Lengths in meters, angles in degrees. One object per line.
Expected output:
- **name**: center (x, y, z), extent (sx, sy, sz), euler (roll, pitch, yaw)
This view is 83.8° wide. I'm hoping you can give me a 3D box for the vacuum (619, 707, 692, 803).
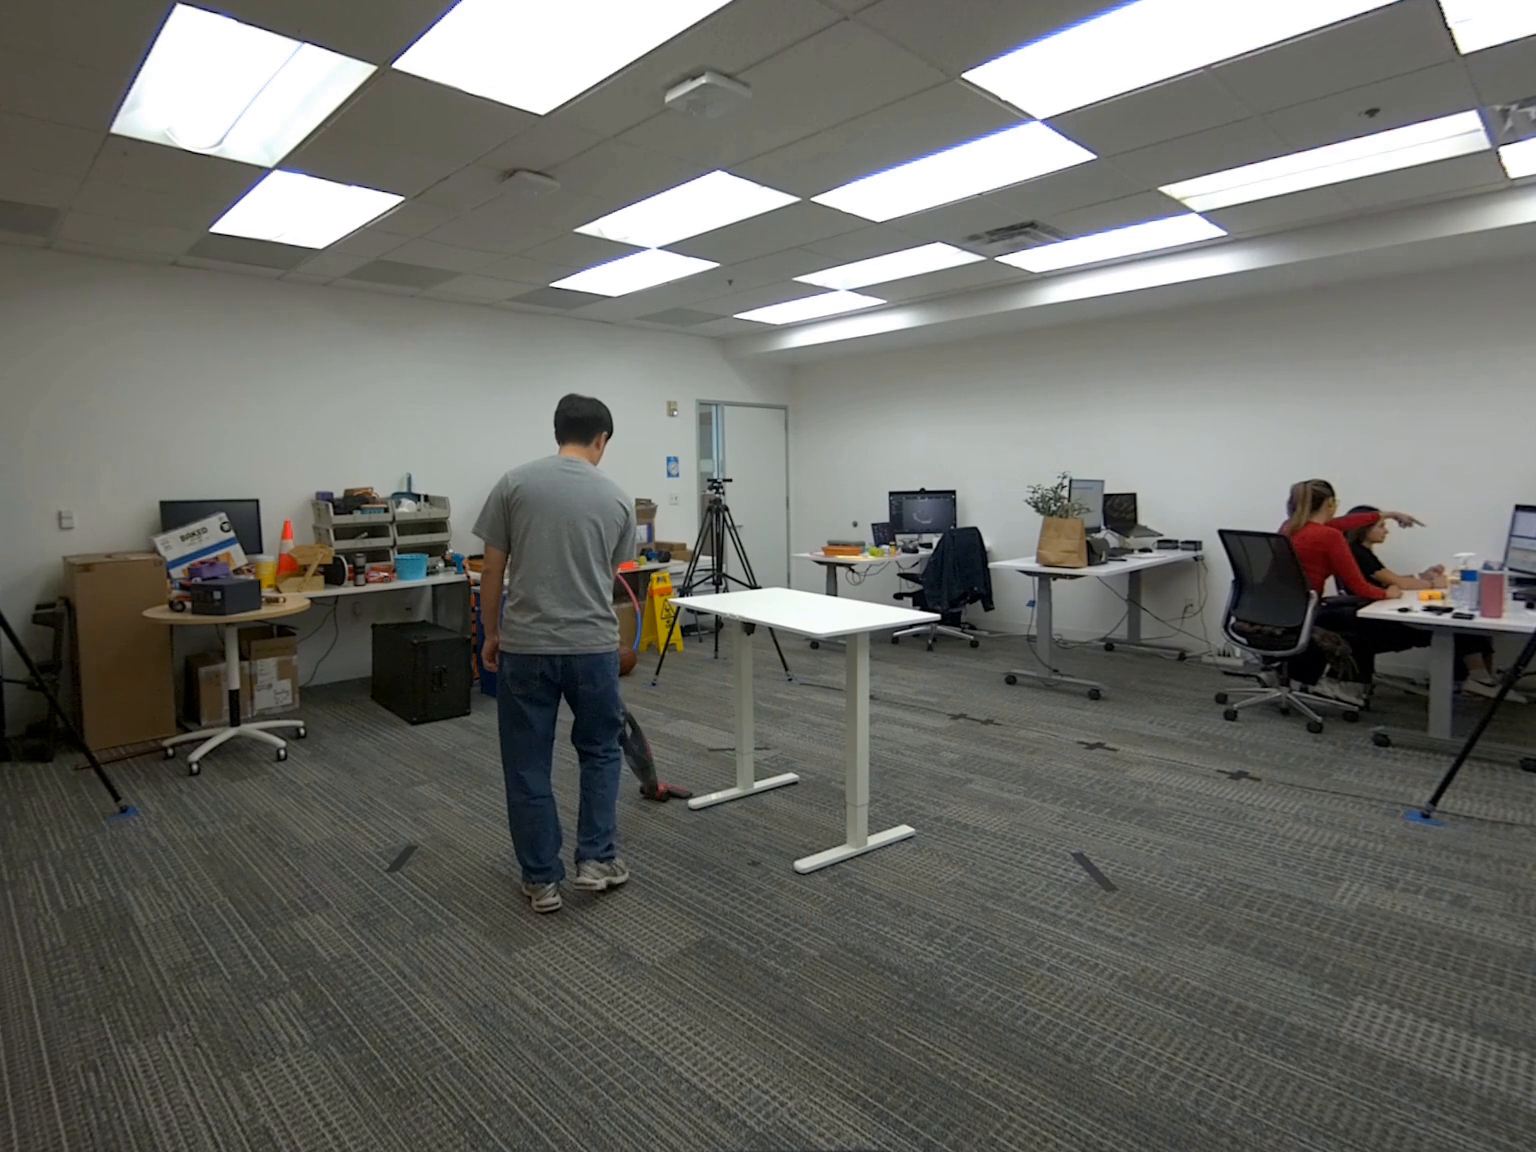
- **vacuum**: center (-0.596, 0.596, 3.483), extent (0.260, 1.014, 0.145), euler (9, 47, 28)
